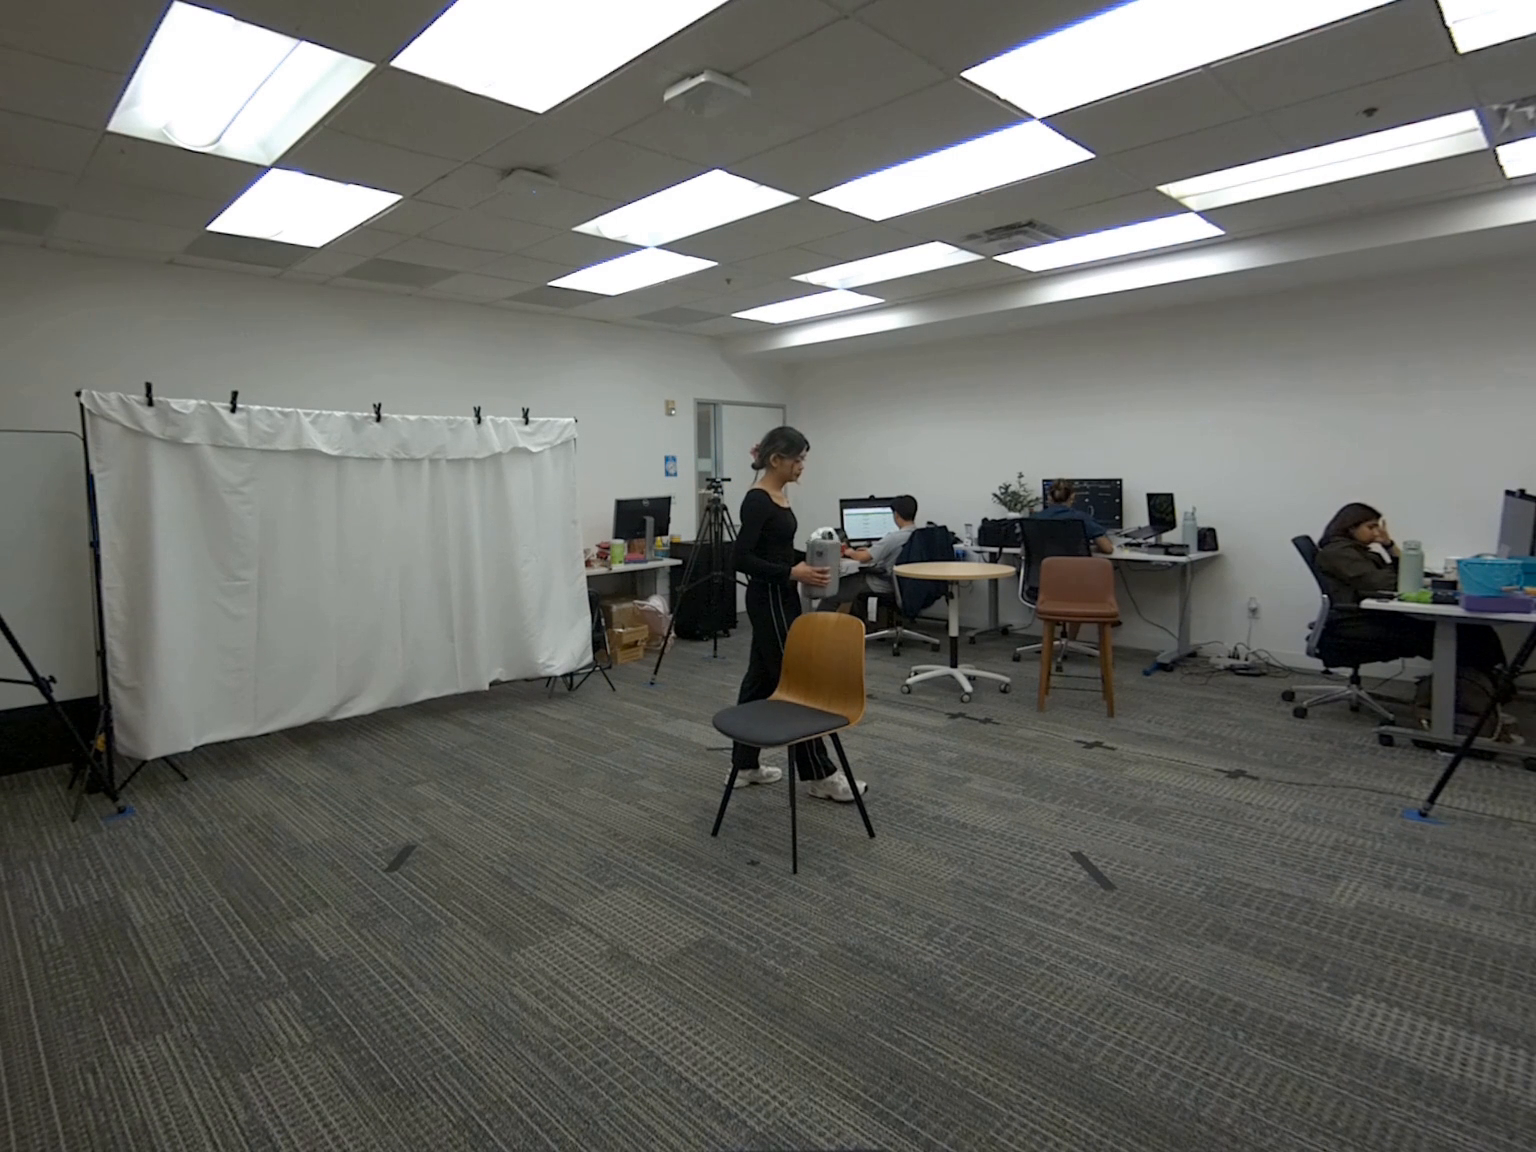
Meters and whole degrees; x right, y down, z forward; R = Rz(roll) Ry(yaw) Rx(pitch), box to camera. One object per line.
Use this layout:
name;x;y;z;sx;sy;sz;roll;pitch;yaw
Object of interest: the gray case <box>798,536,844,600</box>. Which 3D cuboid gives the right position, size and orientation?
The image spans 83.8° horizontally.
gray case;0.223;-0.041;3.726;0.107;0.260;0.251;5;3;26
